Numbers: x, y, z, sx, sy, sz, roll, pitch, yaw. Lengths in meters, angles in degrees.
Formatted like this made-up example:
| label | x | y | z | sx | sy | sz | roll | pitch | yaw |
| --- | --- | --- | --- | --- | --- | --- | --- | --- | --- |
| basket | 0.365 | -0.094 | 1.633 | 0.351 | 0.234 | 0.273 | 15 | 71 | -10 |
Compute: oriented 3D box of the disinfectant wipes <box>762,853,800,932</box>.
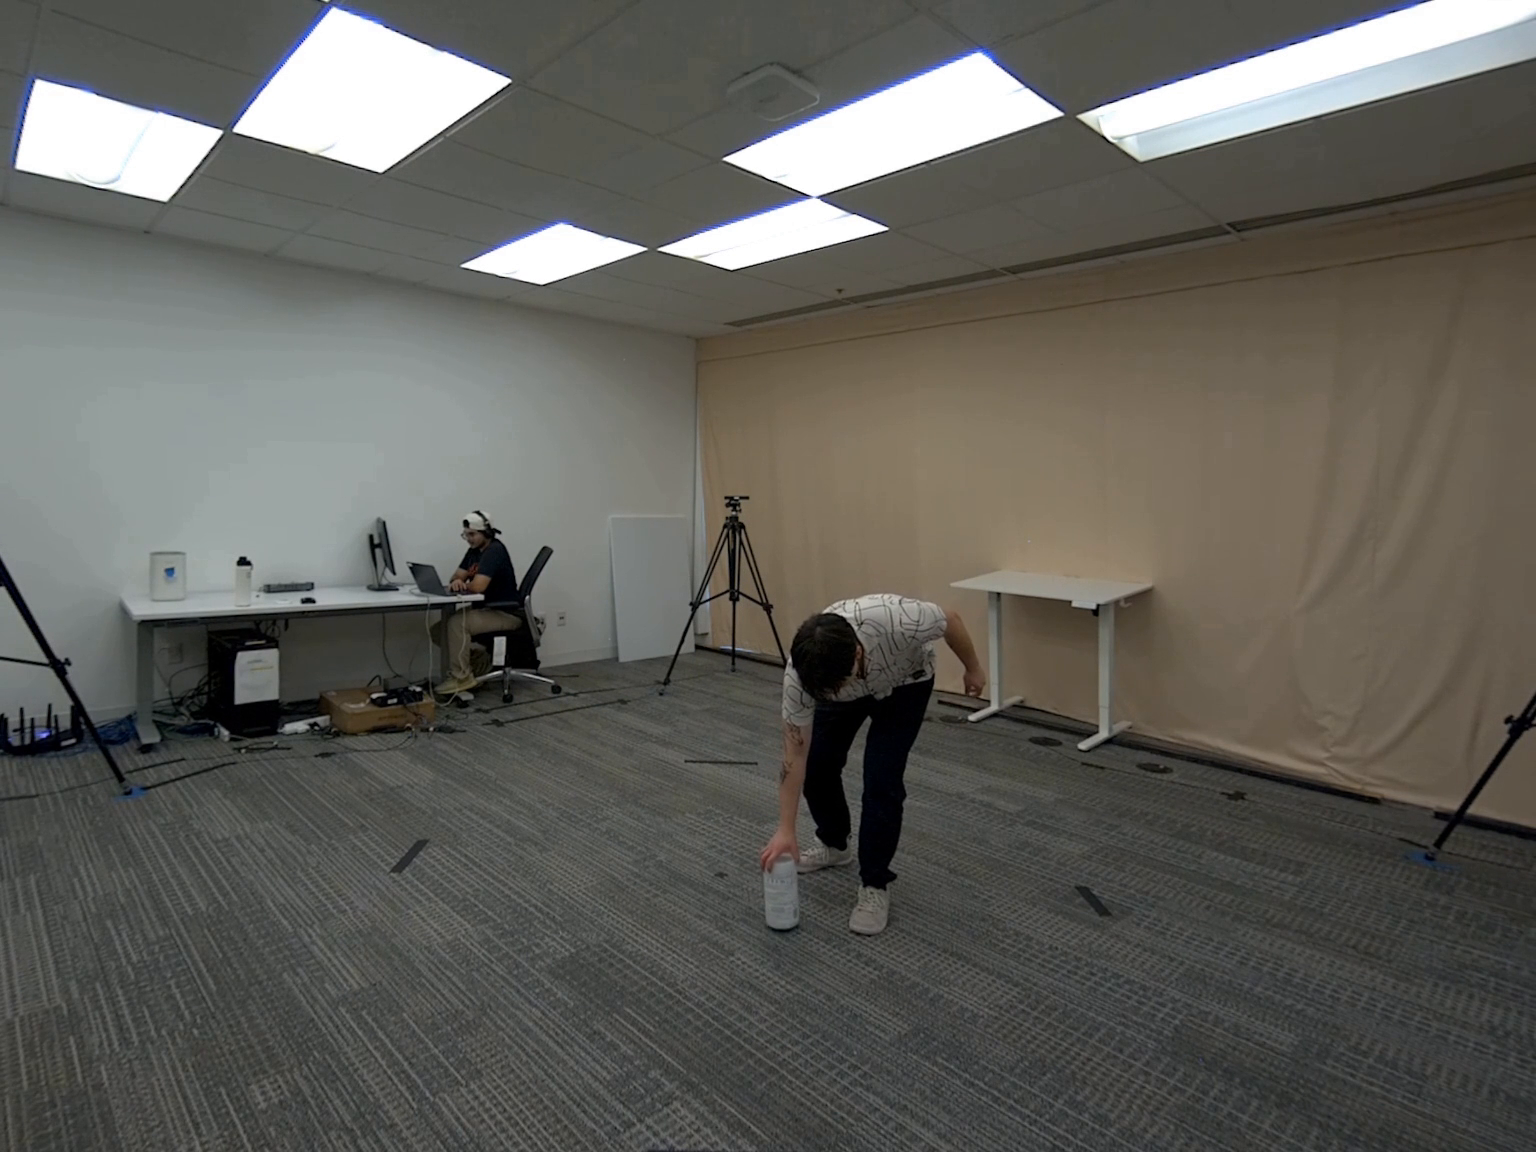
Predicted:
| label | x | y | z | sx | sy | sz | roll | pitch | yaw |
| --- | --- | --- | --- | --- | --- | --- | --- | --- | --- |
| disinfectant wipes | 0.035 | 1.023 | 2.725 | 0.118 | 0.217 | 0.118 | -3 | 3 | -1 |
